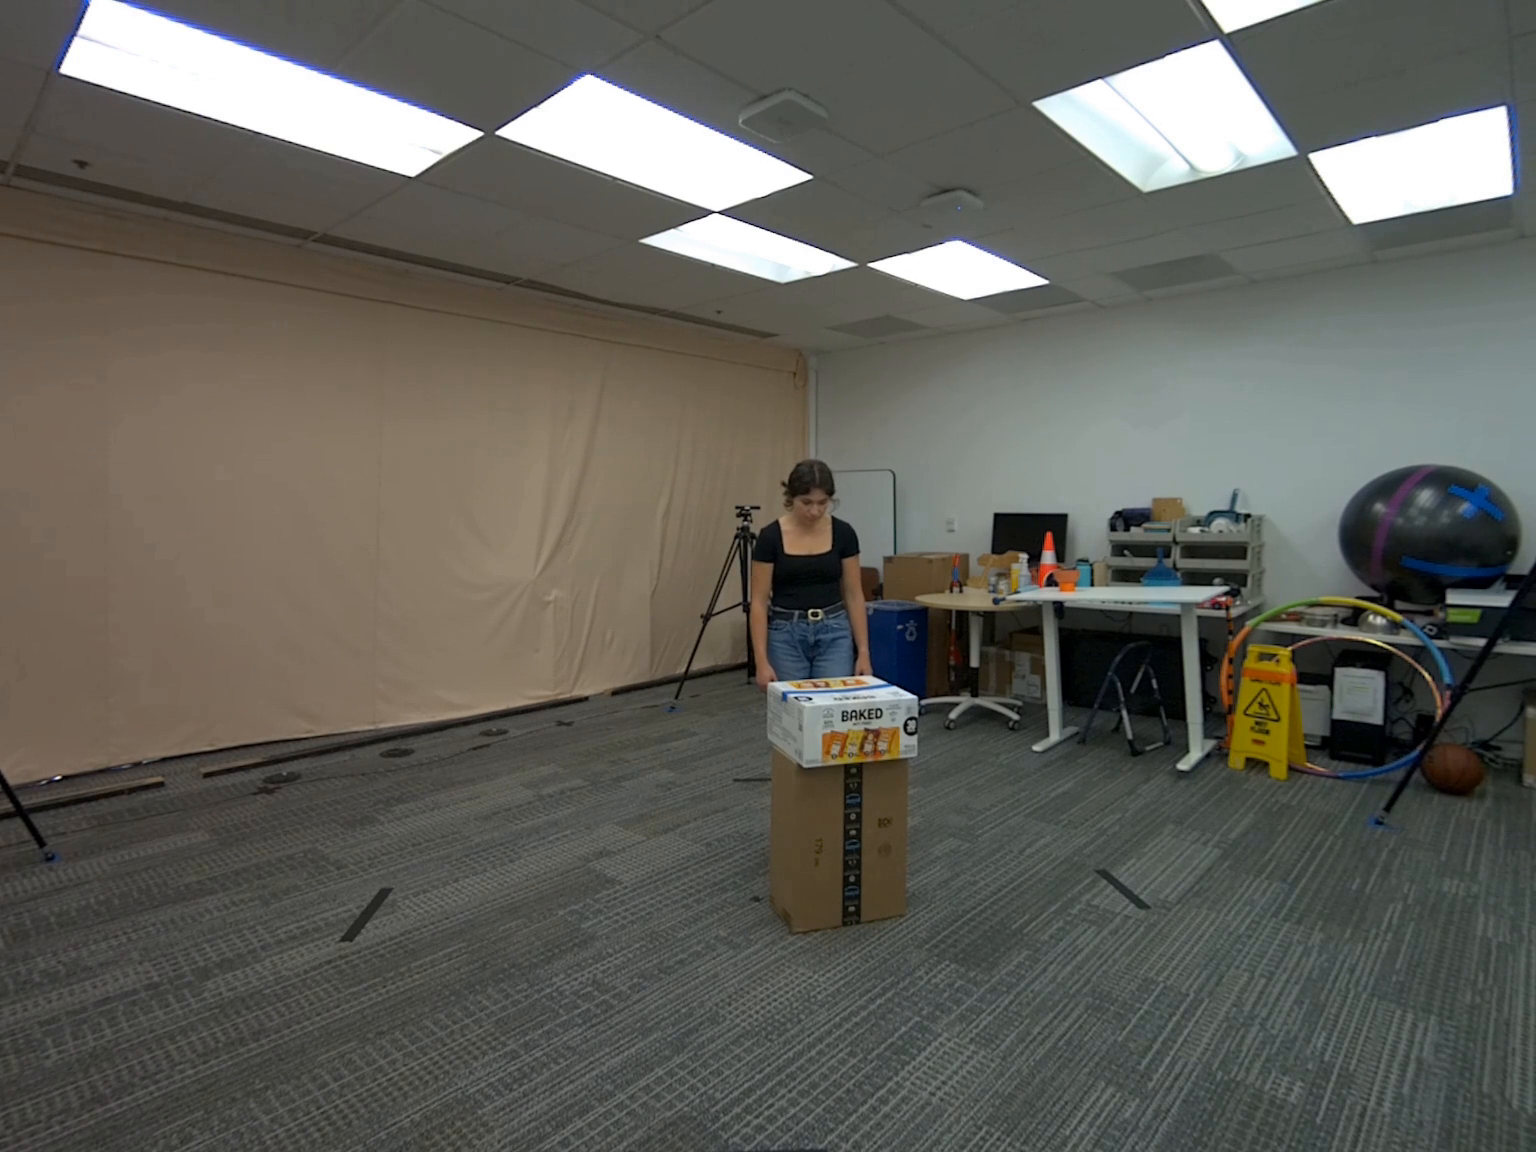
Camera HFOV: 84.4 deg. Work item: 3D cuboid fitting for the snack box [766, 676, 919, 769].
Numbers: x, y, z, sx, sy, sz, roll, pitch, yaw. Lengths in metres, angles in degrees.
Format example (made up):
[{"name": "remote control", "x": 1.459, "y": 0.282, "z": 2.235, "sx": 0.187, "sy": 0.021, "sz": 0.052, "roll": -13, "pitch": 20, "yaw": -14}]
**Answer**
[{"name": "snack box", "x": 0.246, "y": 0.482, "z": 2.865, "sx": 0.398, "sy": 0.205, "sz": 0.347, "roll": -2, "pitch": 5, "yaw": -18}]
